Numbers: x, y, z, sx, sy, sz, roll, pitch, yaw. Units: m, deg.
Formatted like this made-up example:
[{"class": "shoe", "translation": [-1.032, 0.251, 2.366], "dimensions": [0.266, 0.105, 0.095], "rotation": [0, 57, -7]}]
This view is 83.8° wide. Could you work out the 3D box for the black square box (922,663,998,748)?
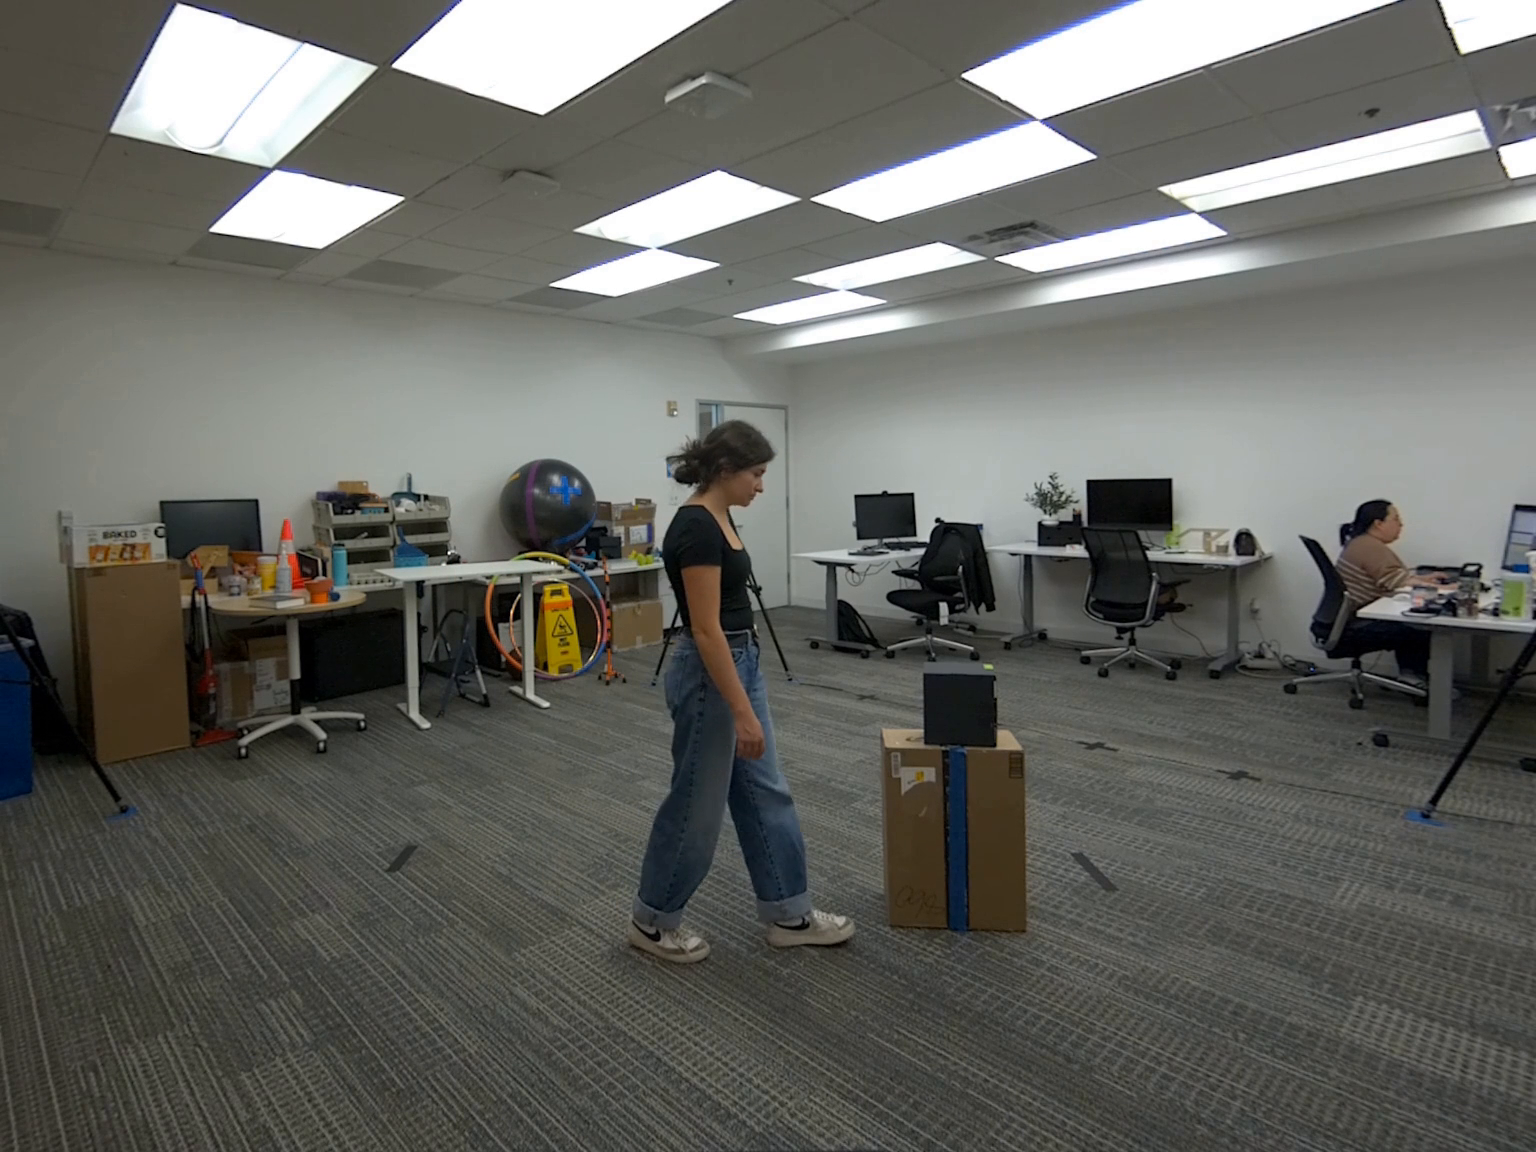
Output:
[{"class": "black square box", "translation": [0.600, 0.395, 2.693], "dimensions": [0.220, 0.227, 0.155], "rotation": [0, 5, 12]}]
